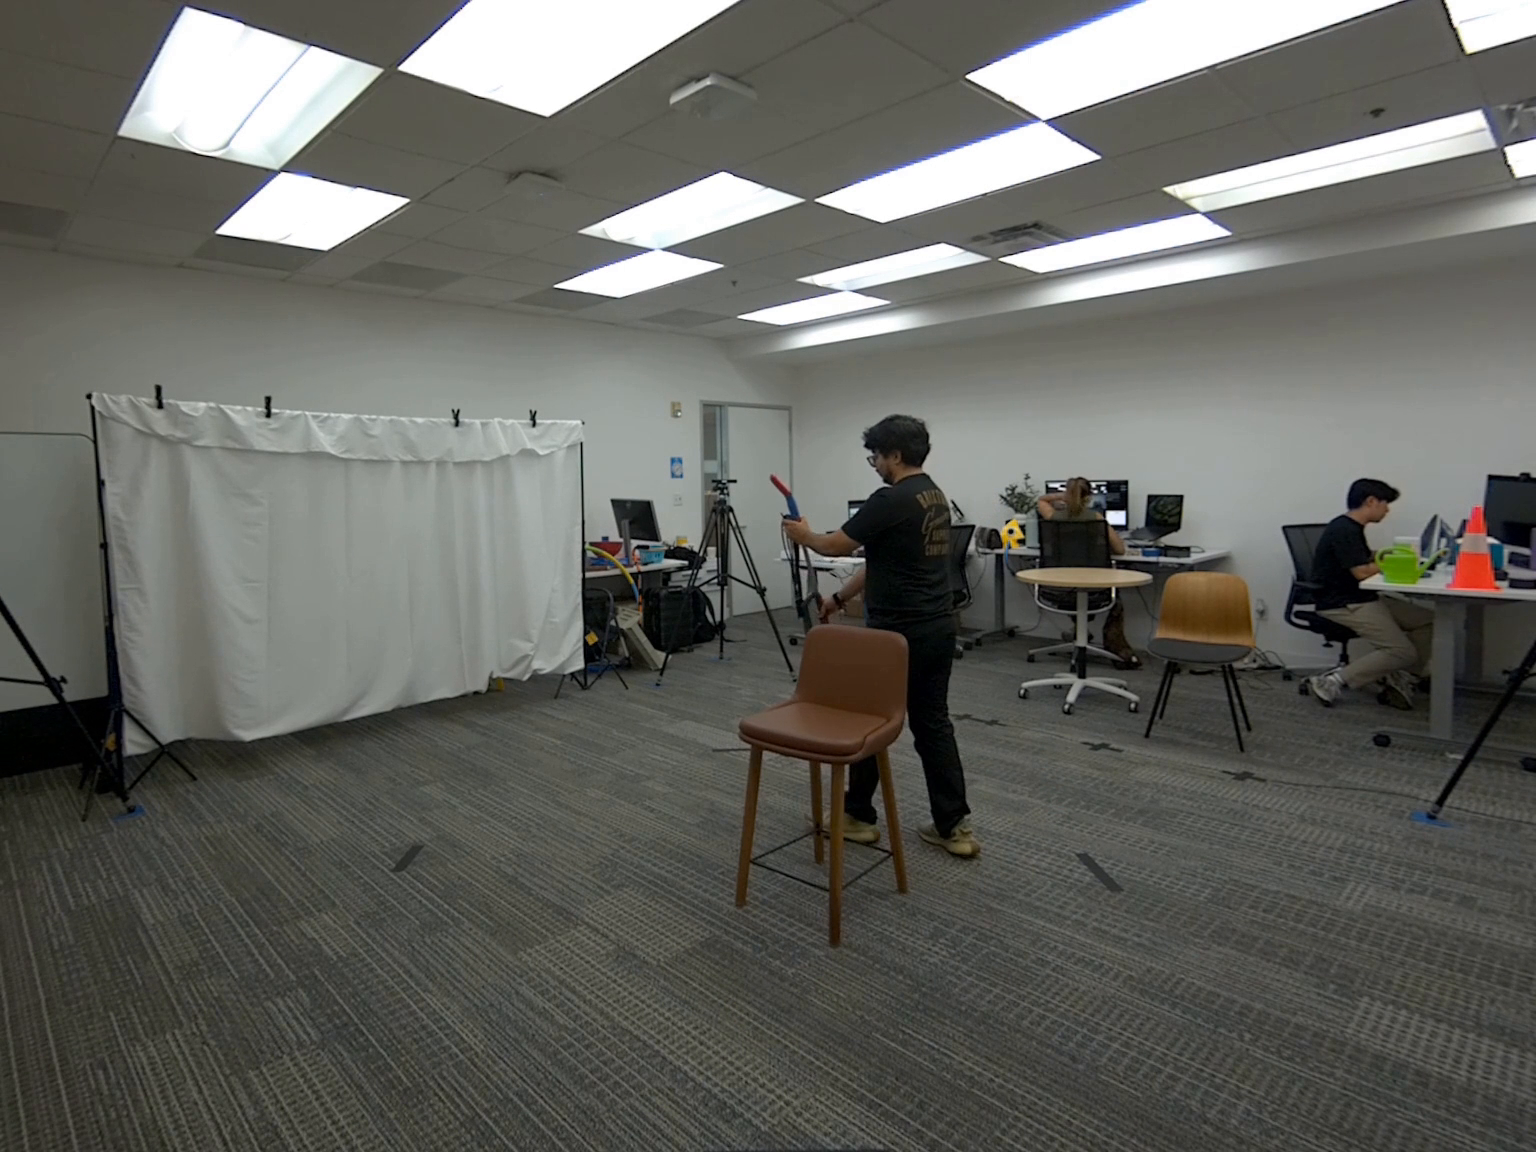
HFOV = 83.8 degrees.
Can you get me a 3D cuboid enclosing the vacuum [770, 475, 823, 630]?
[{"bbox_3d":[0.164,0.080,3.593,0.144,1.035,0.256,-16,12,-1],"label":"vacuum"}]
